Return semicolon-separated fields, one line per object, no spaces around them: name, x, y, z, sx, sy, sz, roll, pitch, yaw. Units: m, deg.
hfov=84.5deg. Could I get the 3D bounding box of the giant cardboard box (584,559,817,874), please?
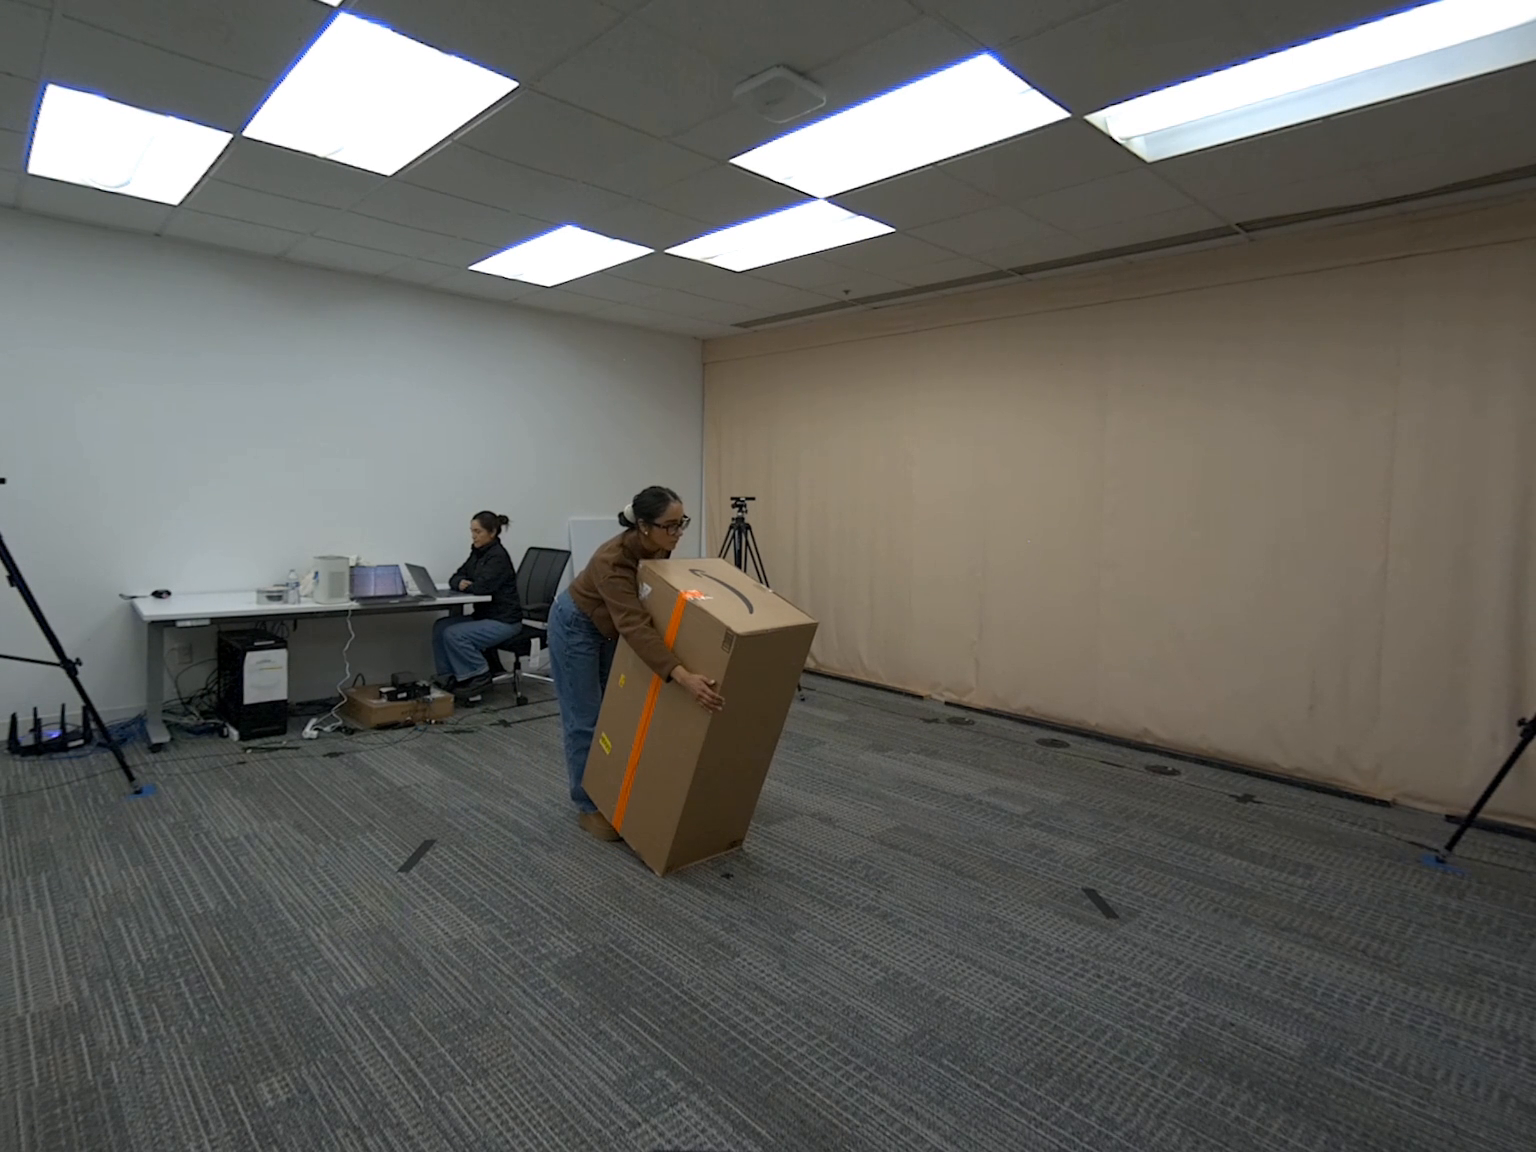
giant cardboard box;-0.296;0.517;3.248;0.416;1.017;0.596;-1;26;-45
